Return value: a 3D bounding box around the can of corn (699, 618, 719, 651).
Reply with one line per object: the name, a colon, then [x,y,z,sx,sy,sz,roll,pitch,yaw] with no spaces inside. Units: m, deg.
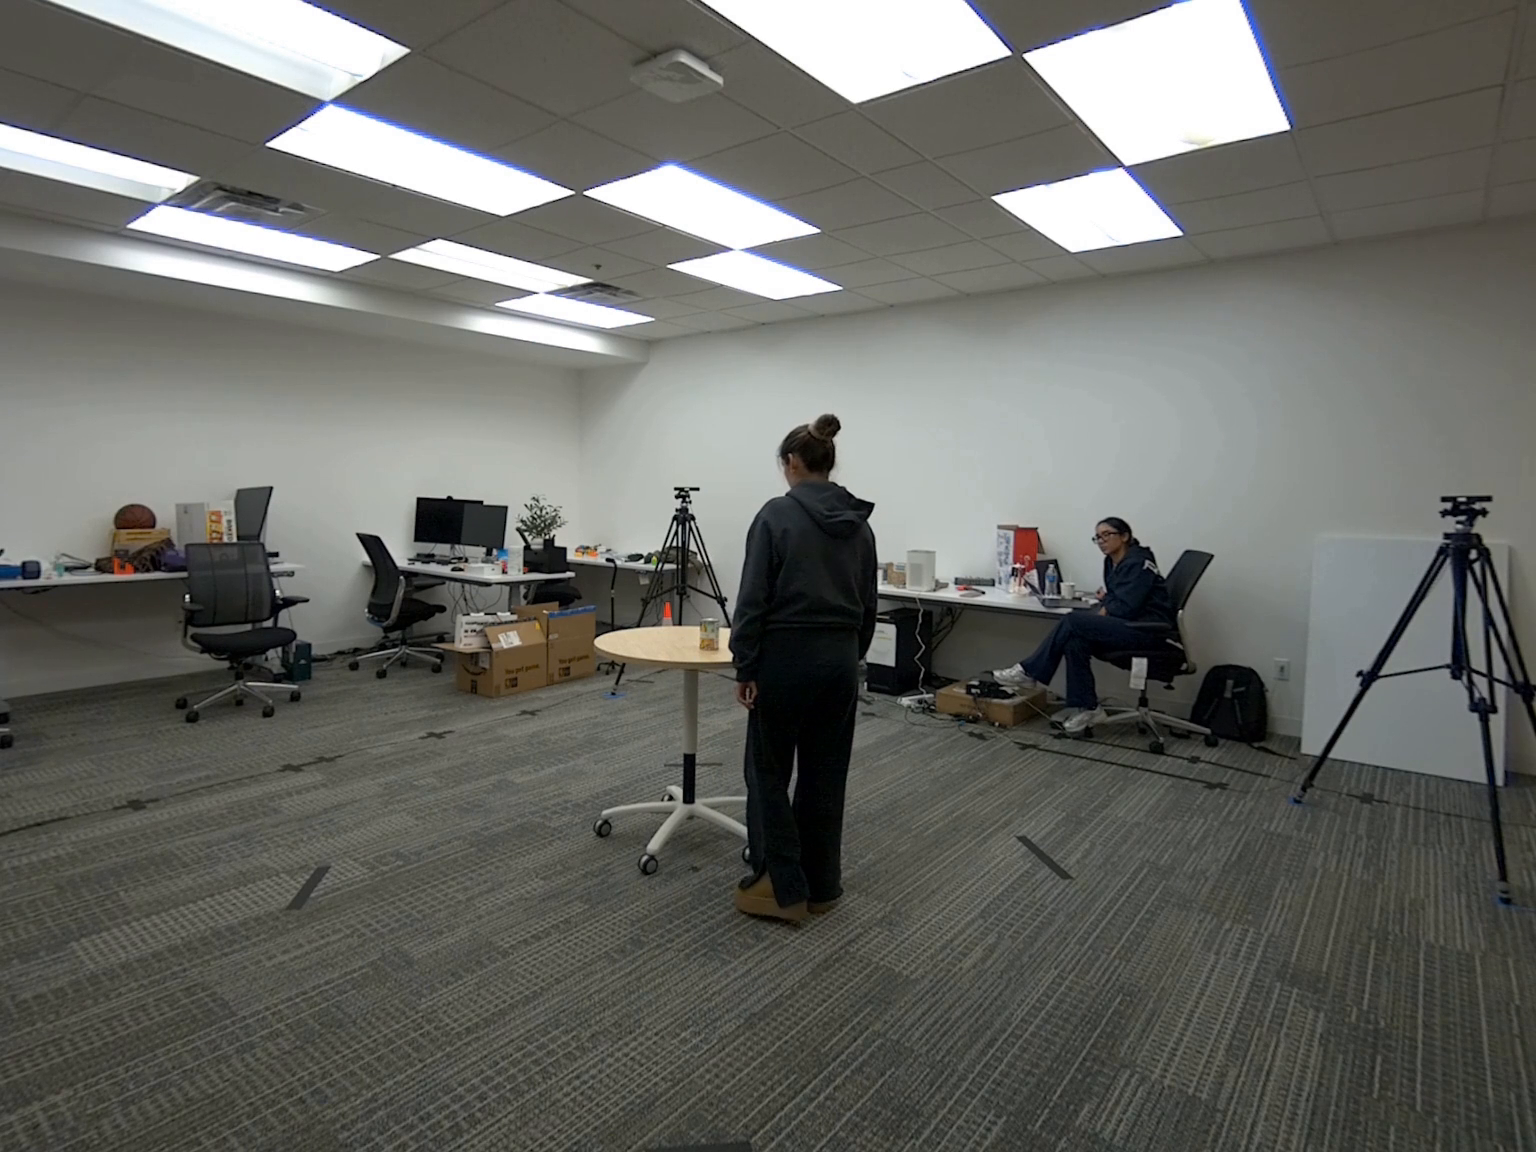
can of corn: [-0.227,0.220,3.221,0.074,0.111,0.074,1,1,-2]
